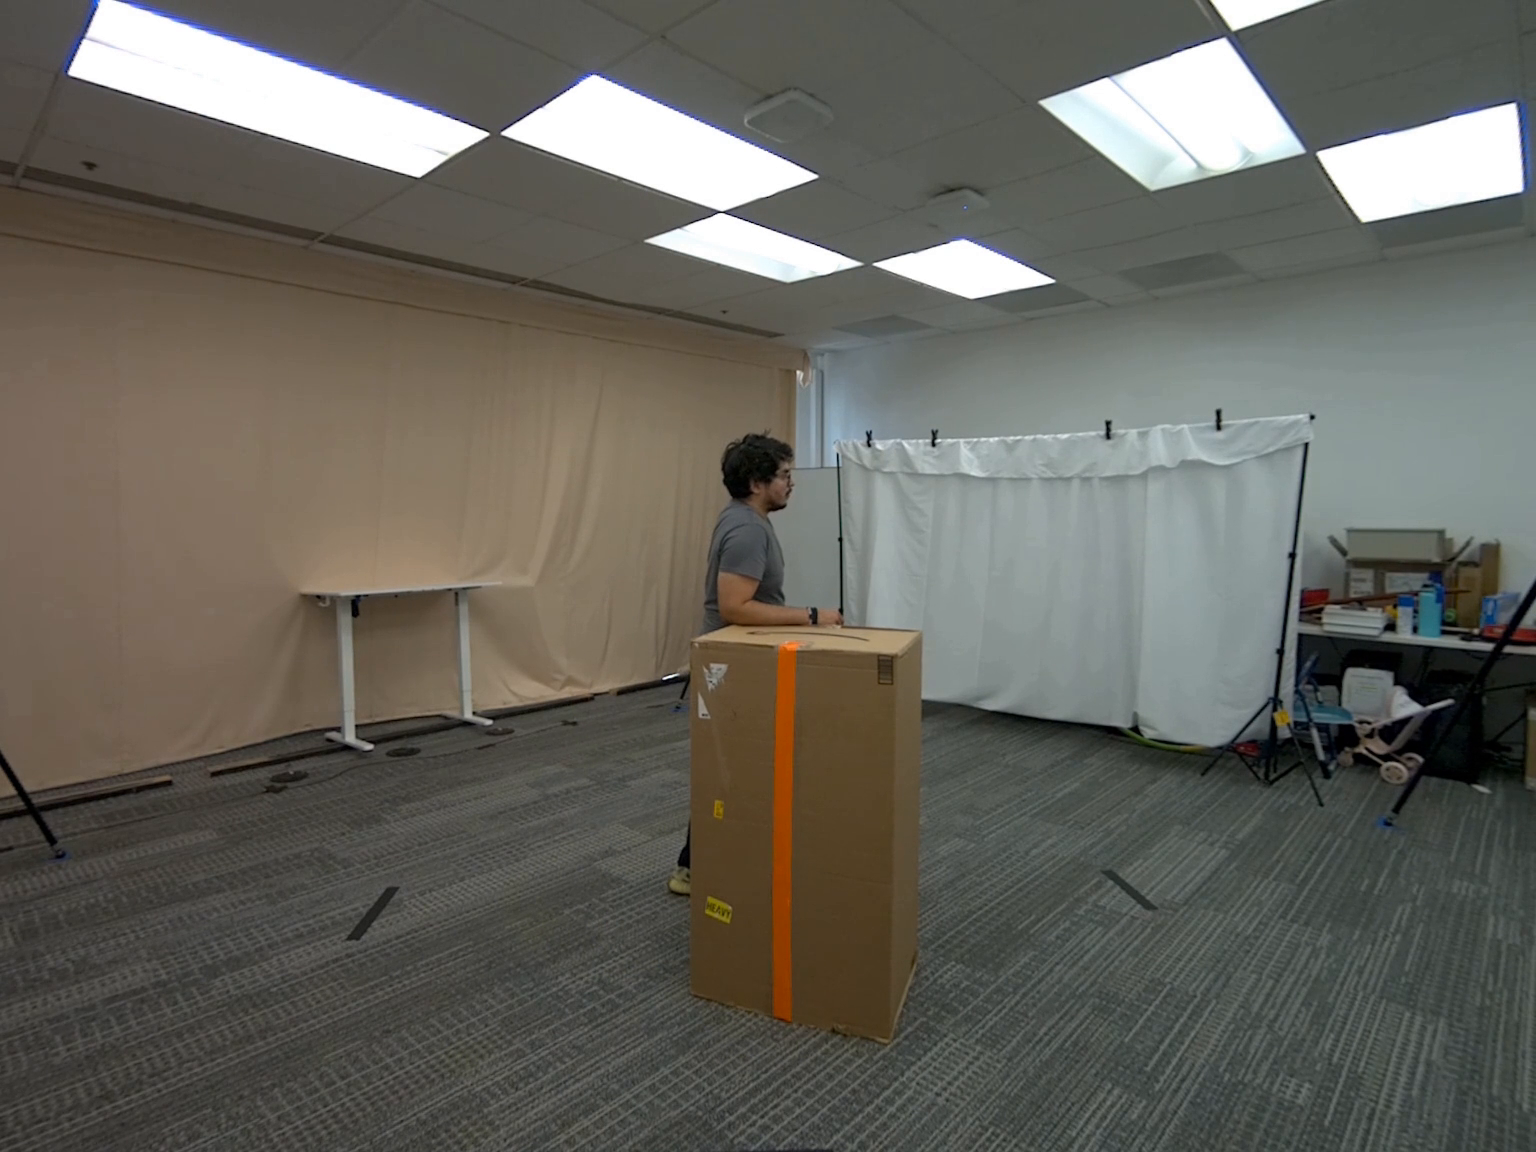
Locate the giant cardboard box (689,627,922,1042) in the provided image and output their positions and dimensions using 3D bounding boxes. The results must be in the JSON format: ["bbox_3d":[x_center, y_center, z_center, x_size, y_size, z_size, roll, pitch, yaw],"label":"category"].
[{"bbox_3d":[0.126,0.682,2.451,0.592,1.024,0.416,1,3,24],"label":"giant cardboard box"}]
